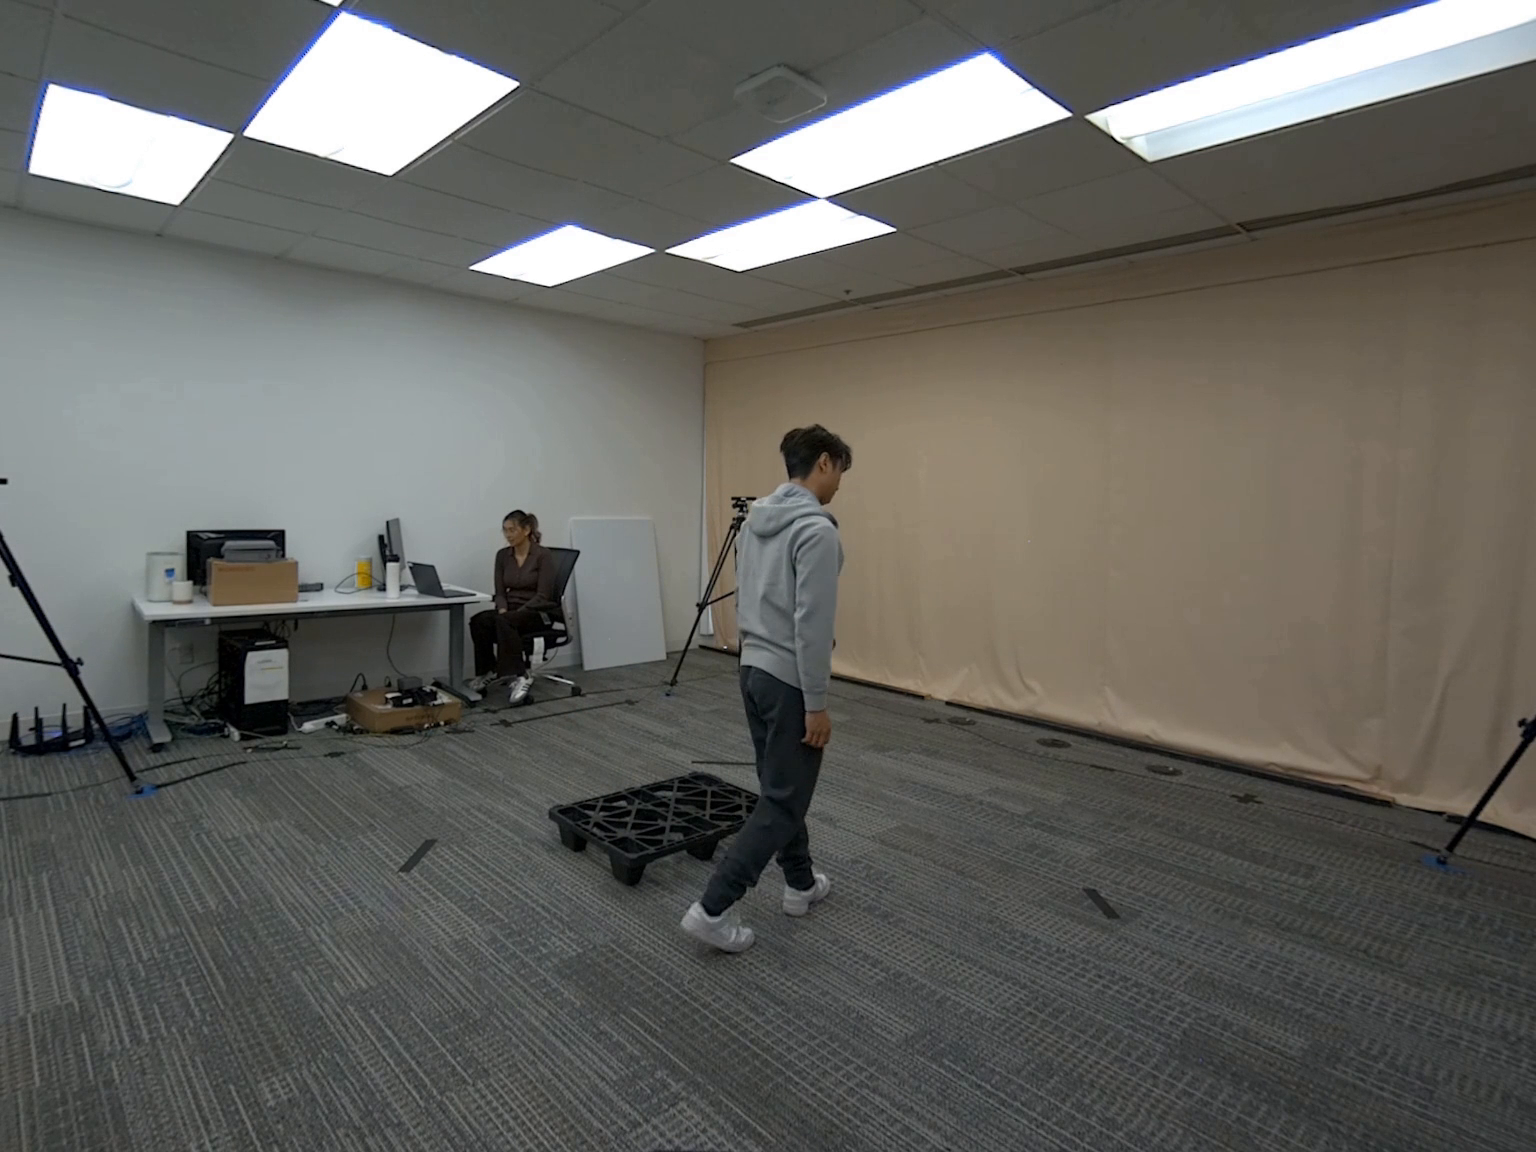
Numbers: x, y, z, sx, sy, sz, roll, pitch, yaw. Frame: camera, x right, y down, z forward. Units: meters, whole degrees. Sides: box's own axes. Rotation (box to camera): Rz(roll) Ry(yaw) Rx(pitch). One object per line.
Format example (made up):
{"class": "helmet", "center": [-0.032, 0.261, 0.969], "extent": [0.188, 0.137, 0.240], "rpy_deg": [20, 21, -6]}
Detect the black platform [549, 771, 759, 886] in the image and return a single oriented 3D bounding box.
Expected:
{"class": "black platform", "center": [-0.392, 1.009, 3.408], "extent": [0.787, 0.143, 0.621], "rpy_deg": [-3, 7, -42]}
